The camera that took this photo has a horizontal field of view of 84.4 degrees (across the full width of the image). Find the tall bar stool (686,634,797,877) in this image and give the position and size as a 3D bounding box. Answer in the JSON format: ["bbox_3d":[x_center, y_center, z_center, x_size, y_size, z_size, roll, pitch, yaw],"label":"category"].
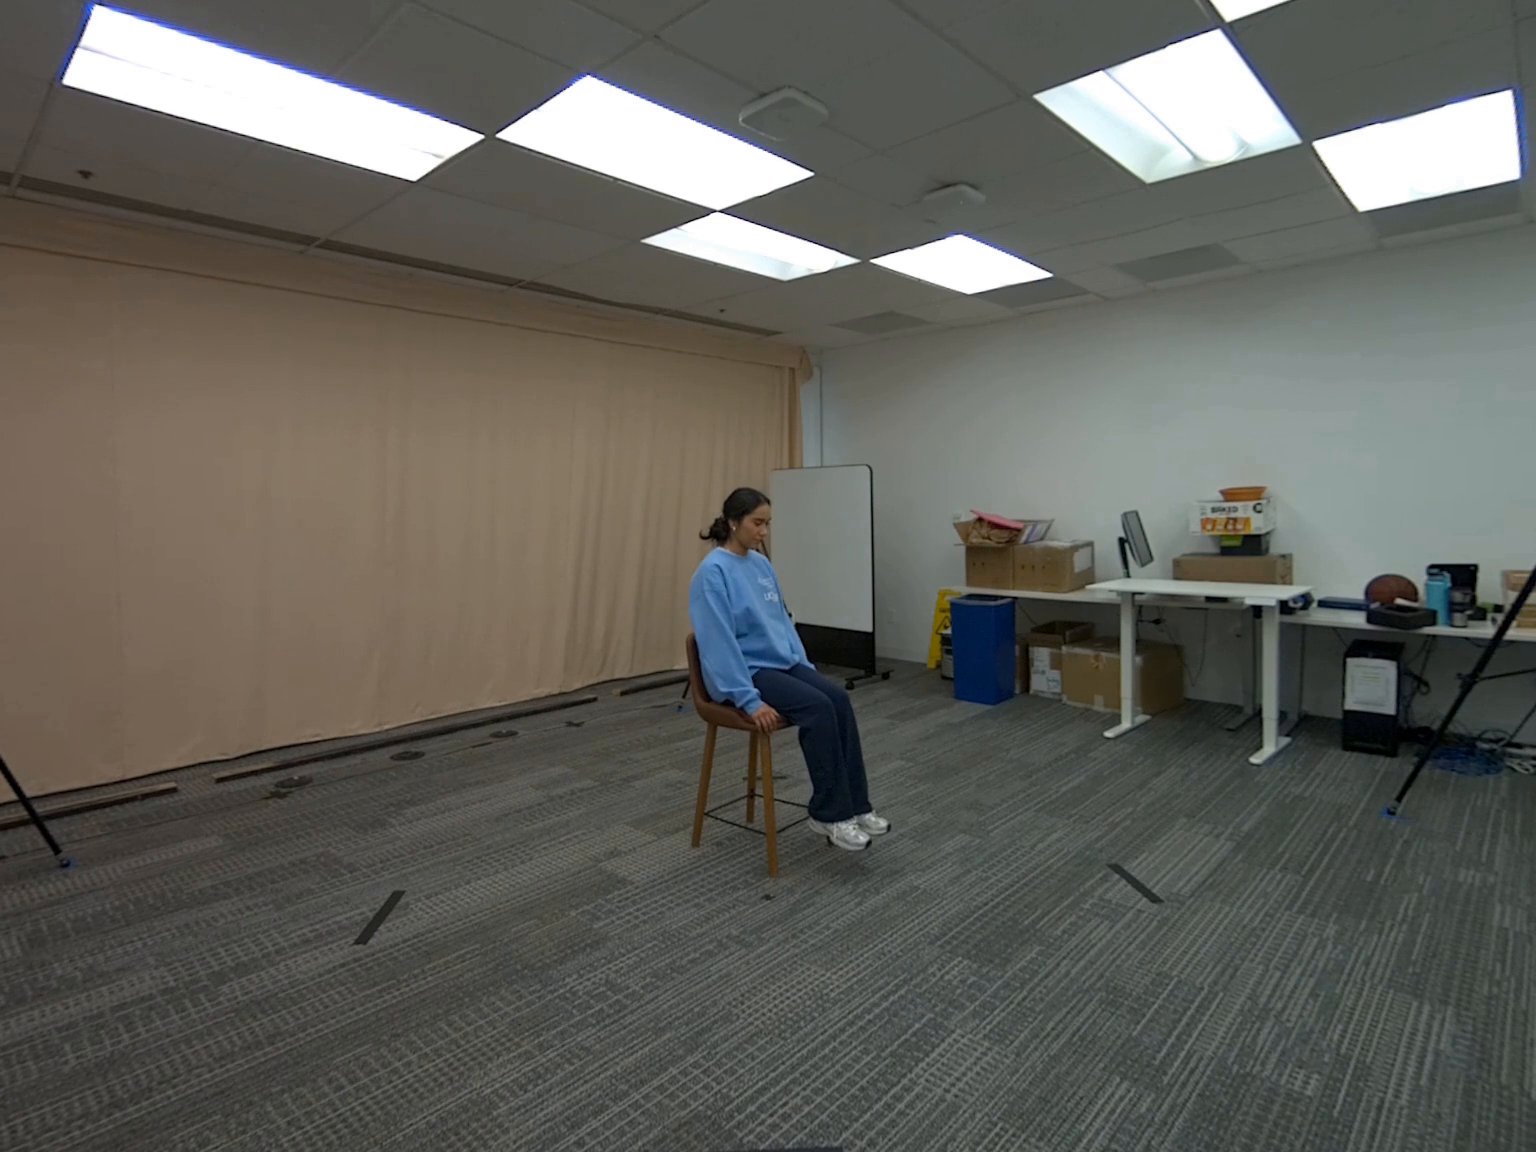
[{"bbox_3d":[-0.037,0.668,3.427,0.482,0.889,0.442,-1,2,41],"label":"tall bar stool"}]
